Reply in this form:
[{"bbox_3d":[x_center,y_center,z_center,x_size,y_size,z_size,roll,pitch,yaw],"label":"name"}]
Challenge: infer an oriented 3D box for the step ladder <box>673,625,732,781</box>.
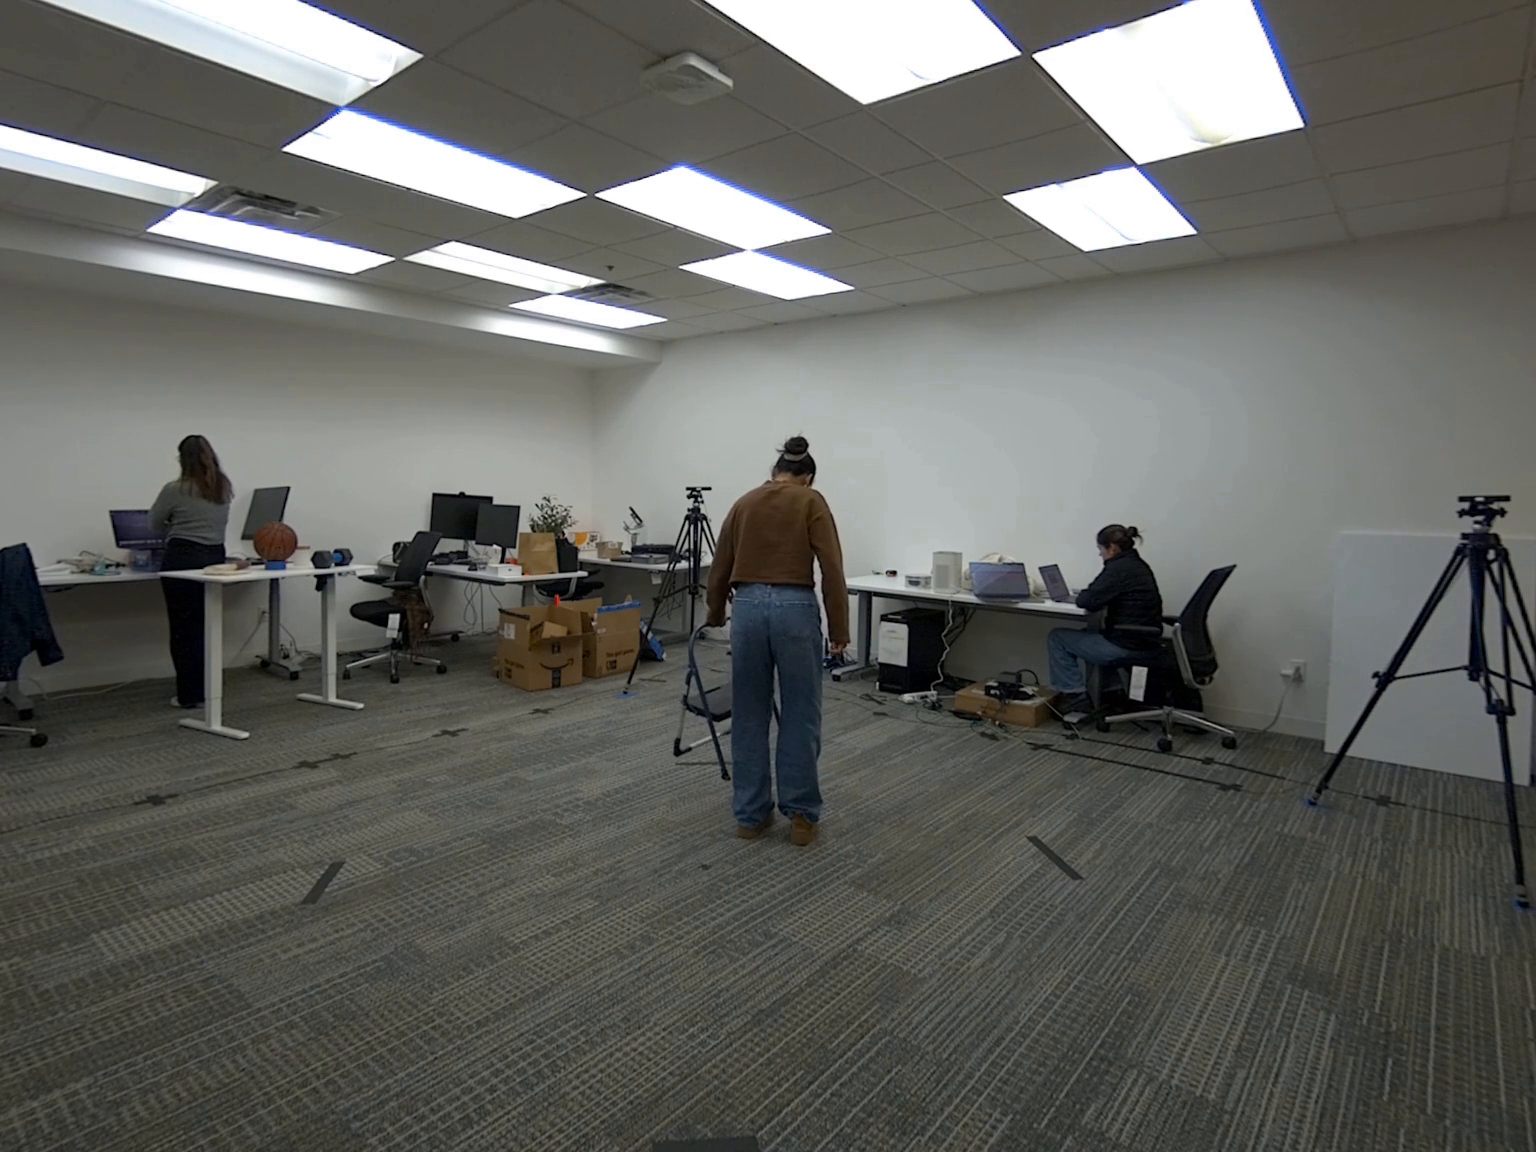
[{"bbox_3d":[-0.189,0.501,3.777,0.362,0.600,0.420,8,14,41],"label":"step ladder"}]
